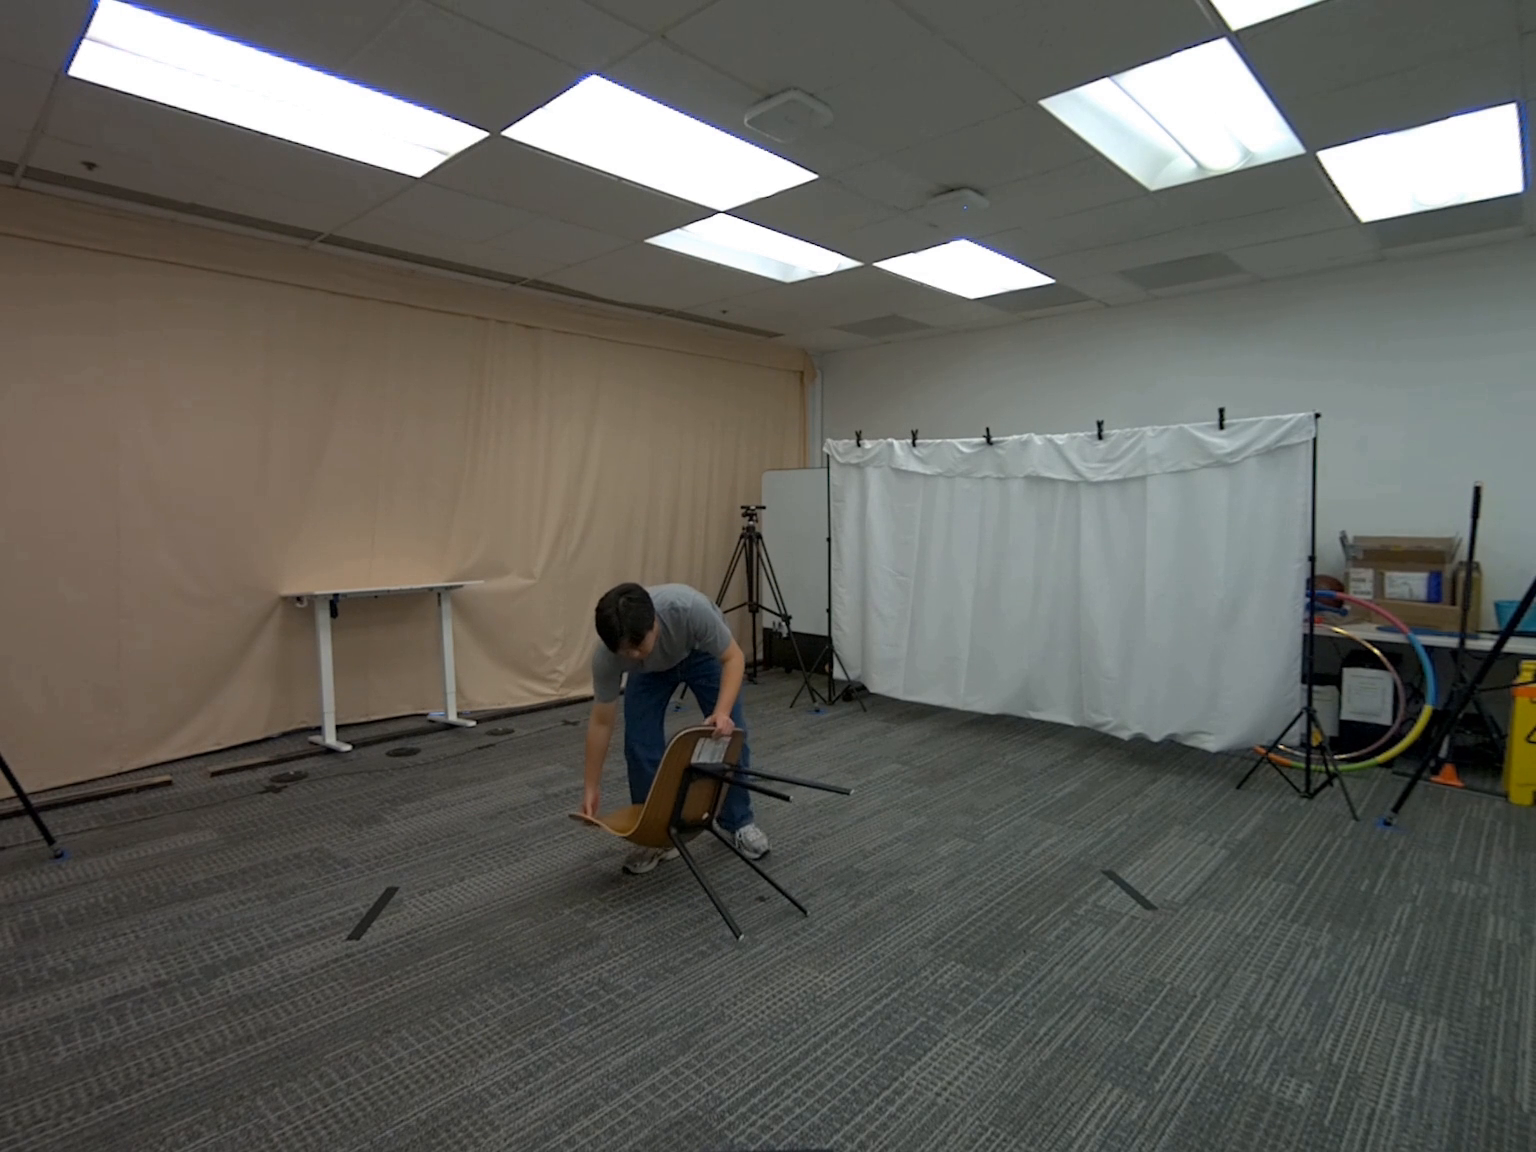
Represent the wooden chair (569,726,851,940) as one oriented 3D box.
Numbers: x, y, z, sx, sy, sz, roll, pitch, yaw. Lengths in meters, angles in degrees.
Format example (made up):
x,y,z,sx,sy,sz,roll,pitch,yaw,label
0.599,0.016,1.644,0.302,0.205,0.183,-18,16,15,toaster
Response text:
x,y,z,sx,sy,sz,roll,pitch,yaw,label
-0.233,0.778,2.917,0.907,0.523,0.462,14,-3,34,wooden chair
